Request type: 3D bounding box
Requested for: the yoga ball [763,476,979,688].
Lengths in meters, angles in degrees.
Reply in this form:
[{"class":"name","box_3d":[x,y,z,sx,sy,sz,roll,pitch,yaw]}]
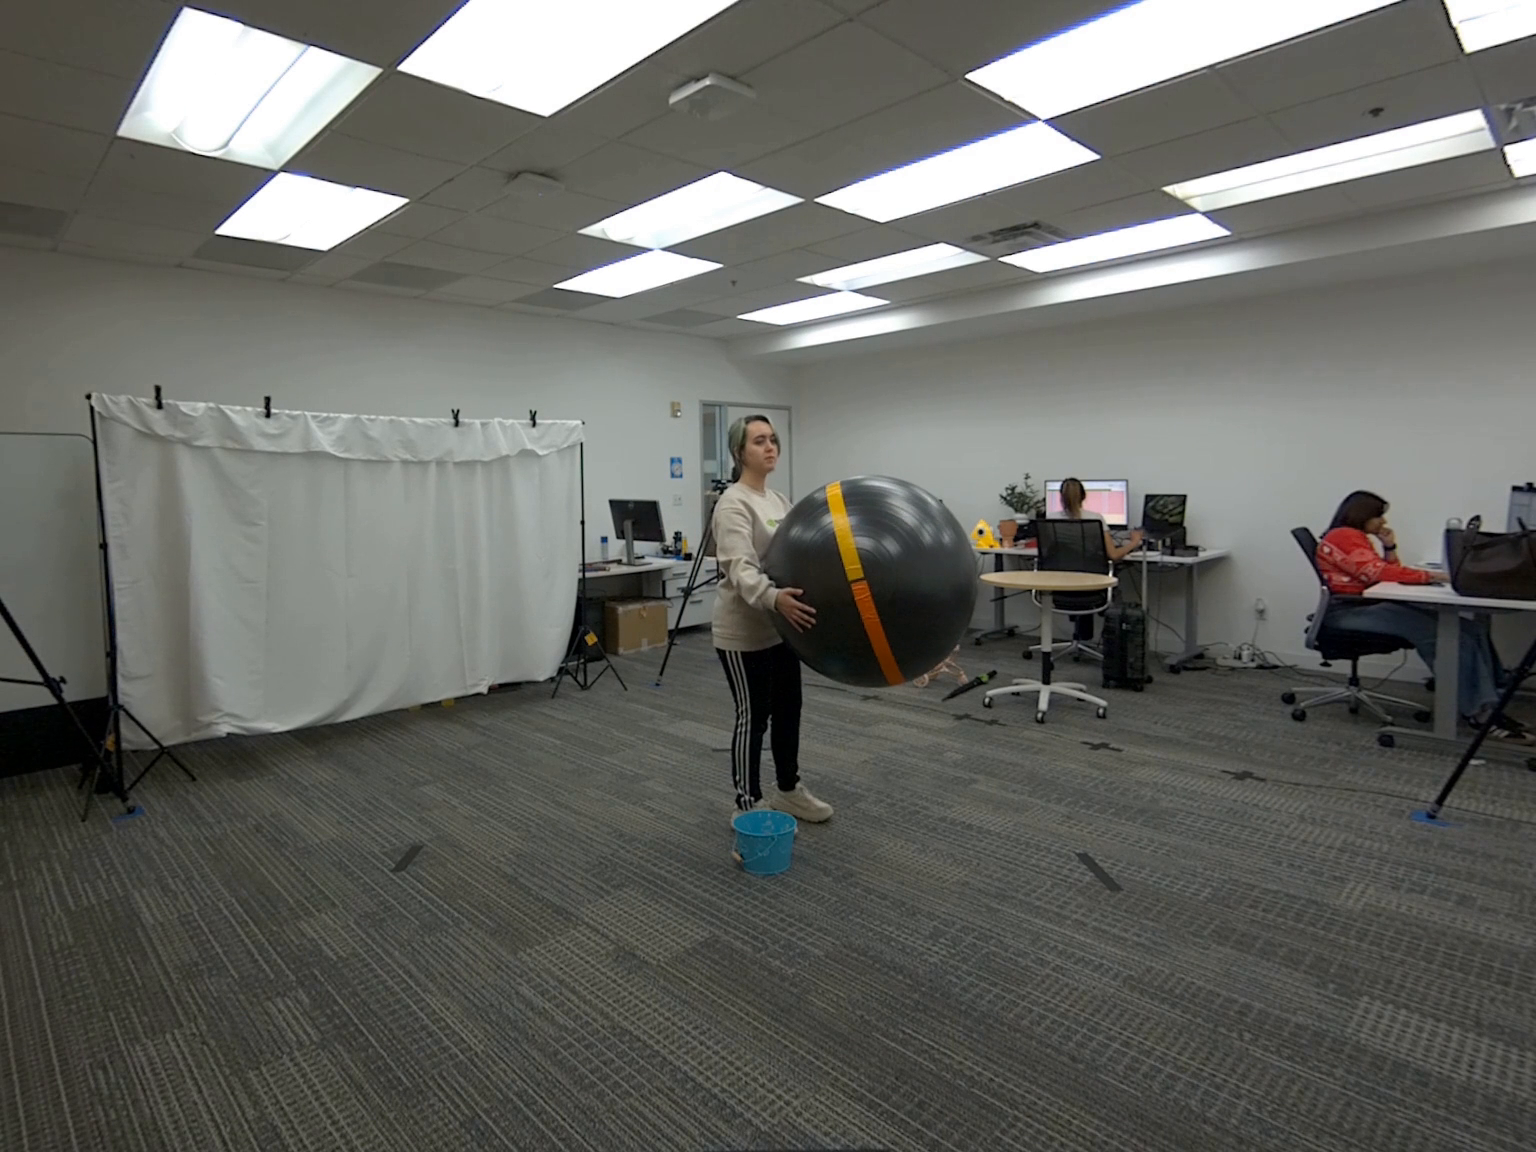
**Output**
[{"class":"yoga ball","box_3d":[0.372,0.022,3.068,0.757,0.755,0.762,-1,5,-2]}]
